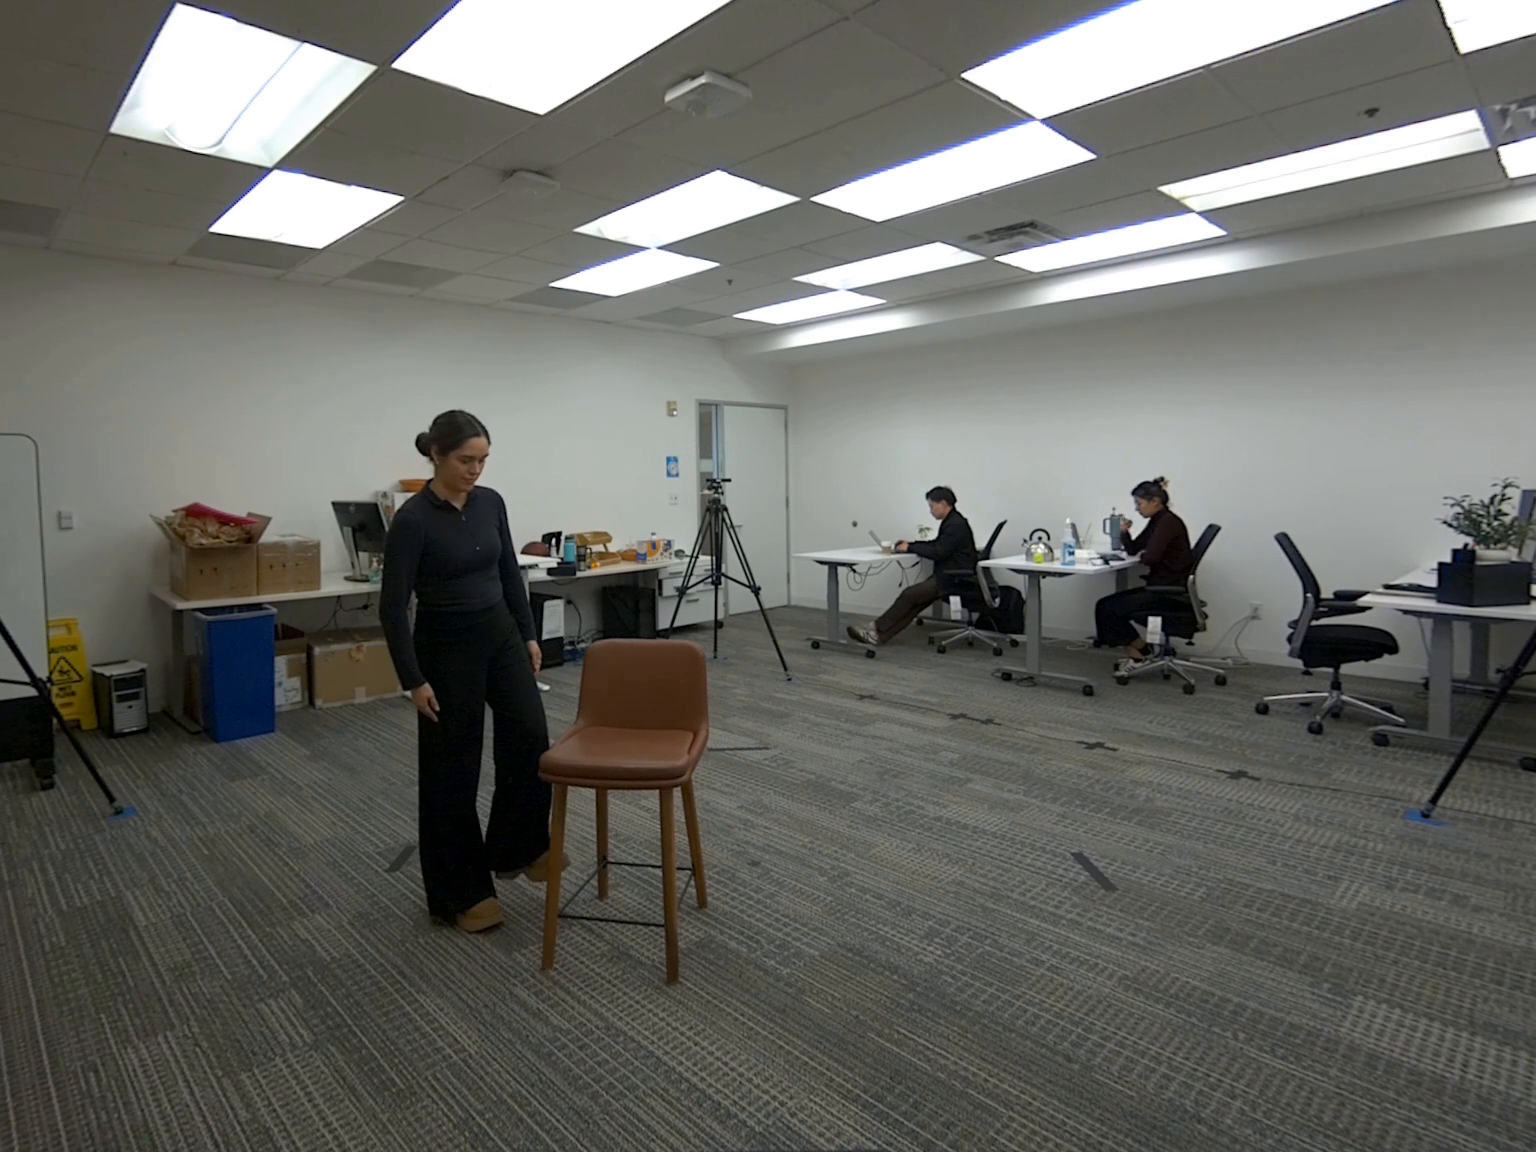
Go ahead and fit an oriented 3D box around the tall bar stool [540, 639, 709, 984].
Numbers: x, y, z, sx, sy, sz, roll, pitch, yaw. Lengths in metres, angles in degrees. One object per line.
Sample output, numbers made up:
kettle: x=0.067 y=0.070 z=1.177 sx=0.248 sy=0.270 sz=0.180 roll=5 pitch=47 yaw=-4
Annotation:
tall bar stool: x=-0.421 y=0.677 z=2.605 sx=0.462 sy=0.887 sz=0.463 roll=0 pitch=4 yaw=12
